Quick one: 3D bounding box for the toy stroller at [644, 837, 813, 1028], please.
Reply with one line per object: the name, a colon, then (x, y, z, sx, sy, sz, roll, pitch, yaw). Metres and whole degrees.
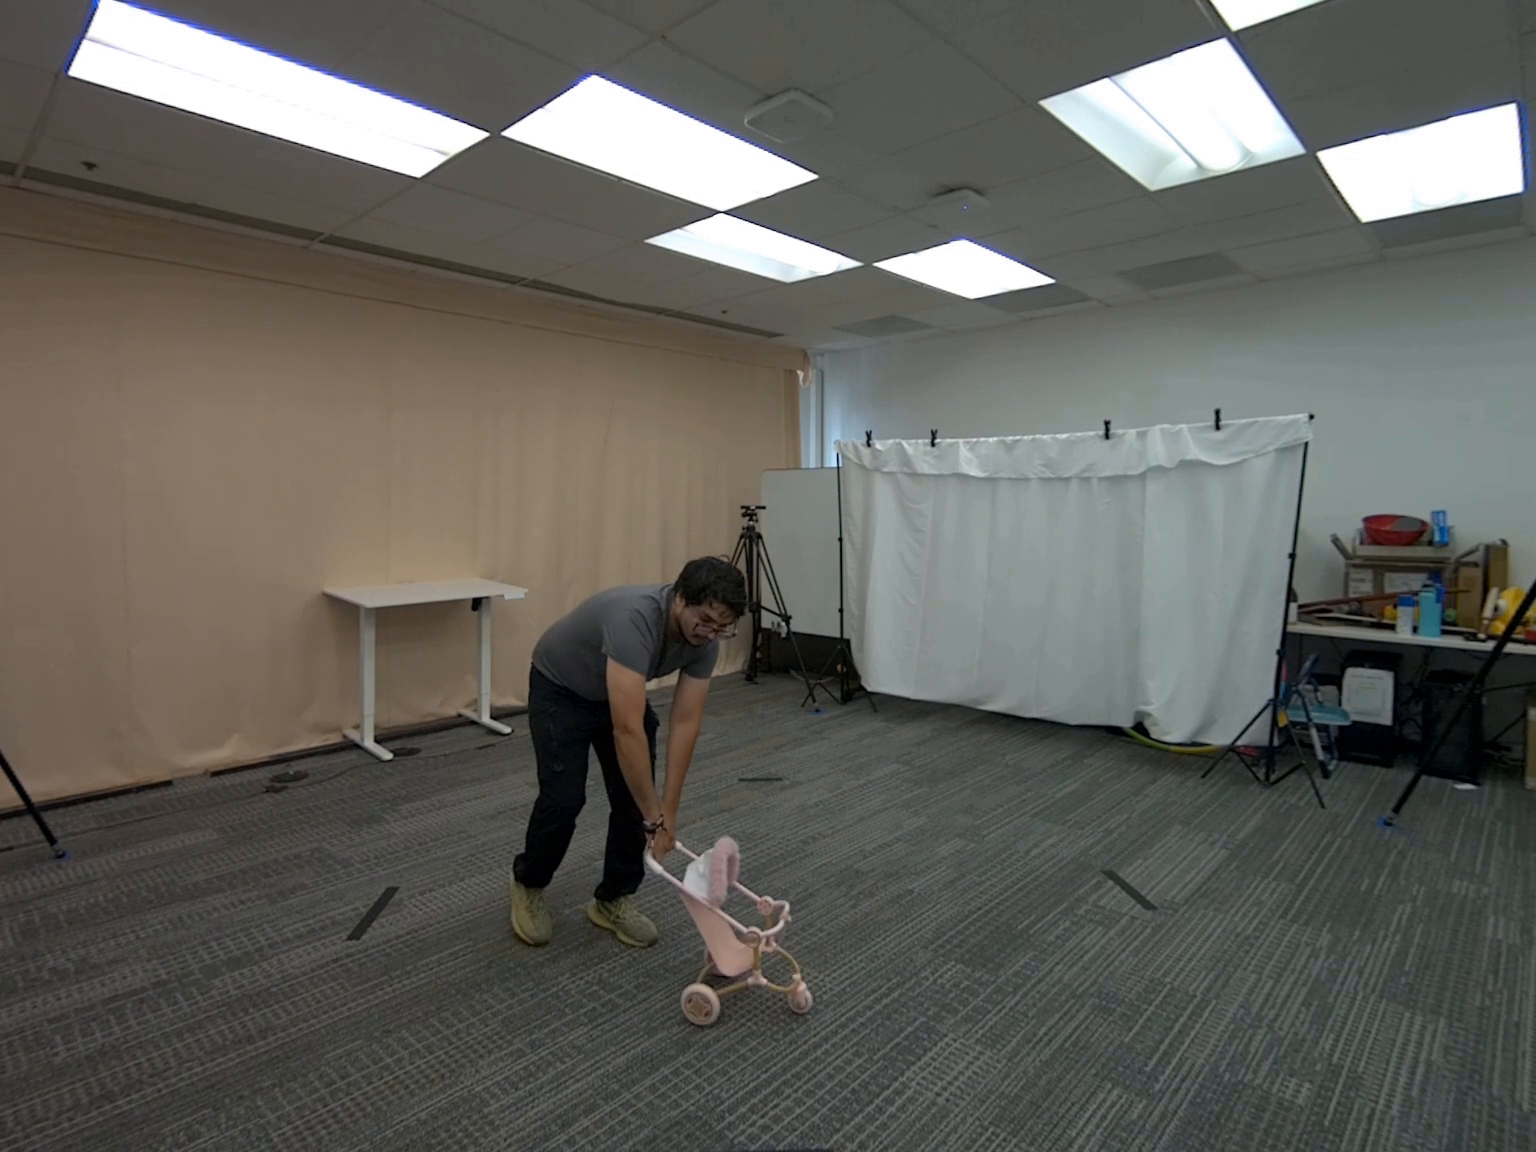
toy stroller: (-0.099, 0.975, 2.354, 0.346, 0.536, 0.276, -18, -3, 17)
